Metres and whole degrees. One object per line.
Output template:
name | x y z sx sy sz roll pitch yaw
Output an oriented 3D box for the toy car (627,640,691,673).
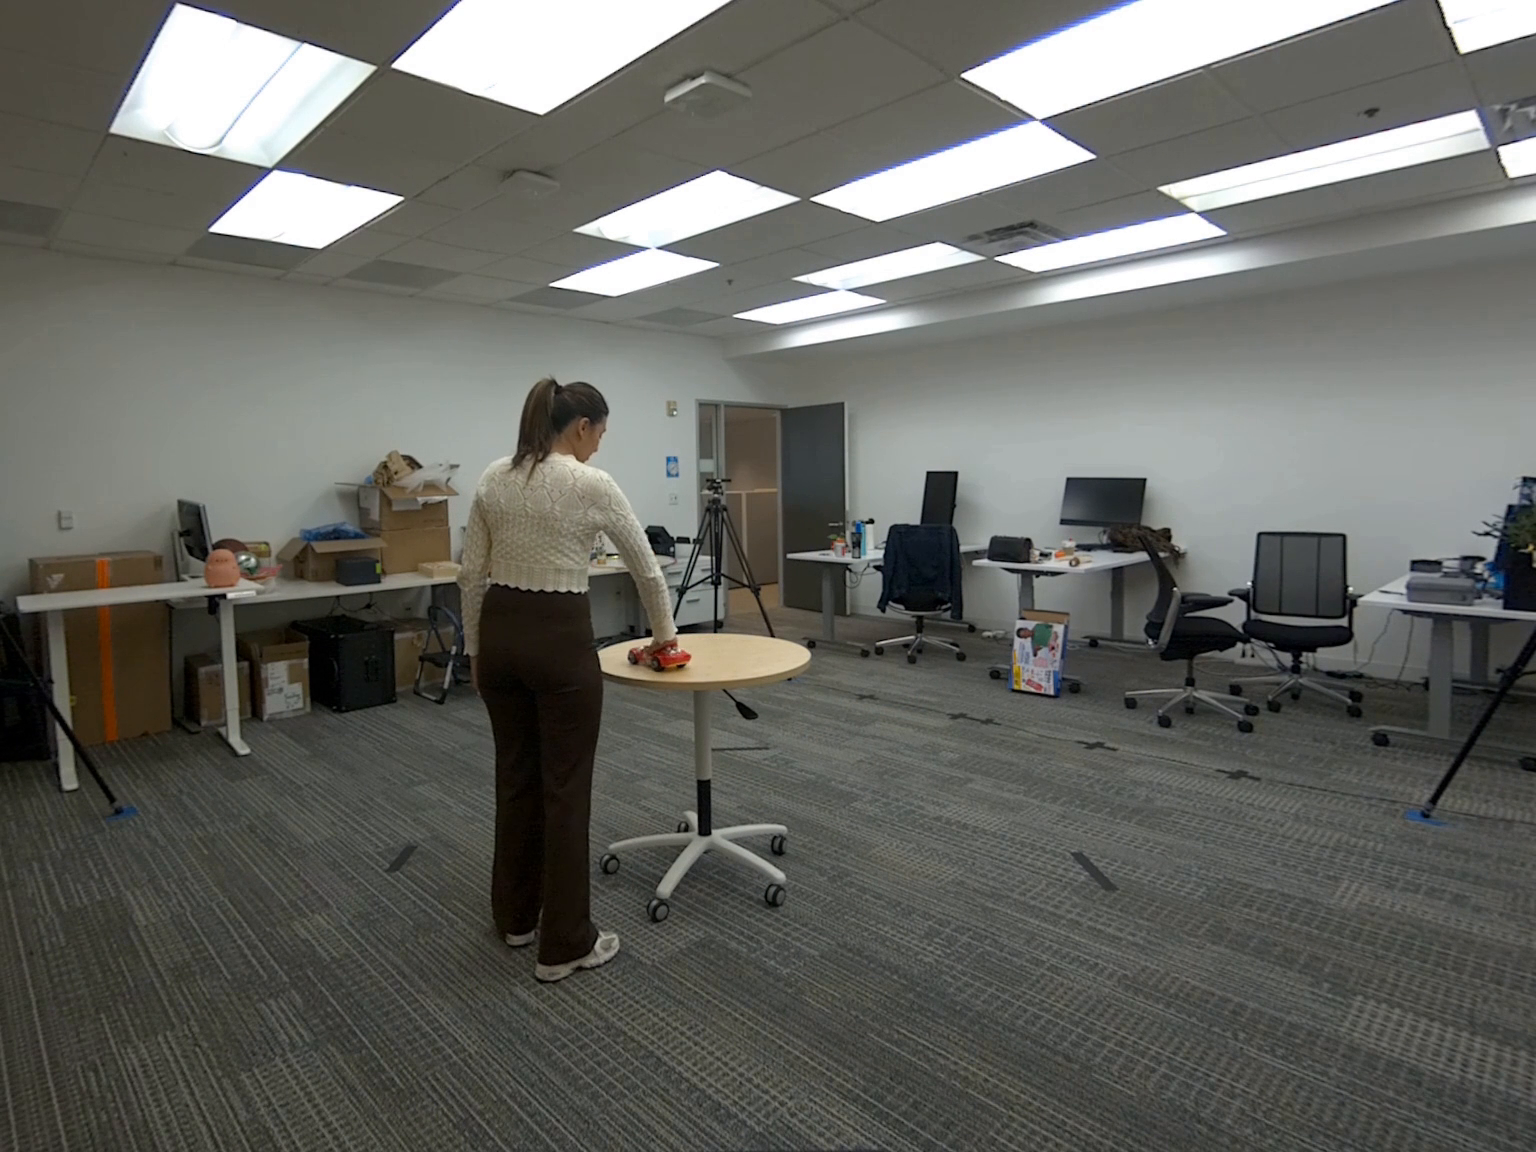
toy car | -0.351 0.269 2.819 0.127 0.083 0.260 -5 -3 -39
